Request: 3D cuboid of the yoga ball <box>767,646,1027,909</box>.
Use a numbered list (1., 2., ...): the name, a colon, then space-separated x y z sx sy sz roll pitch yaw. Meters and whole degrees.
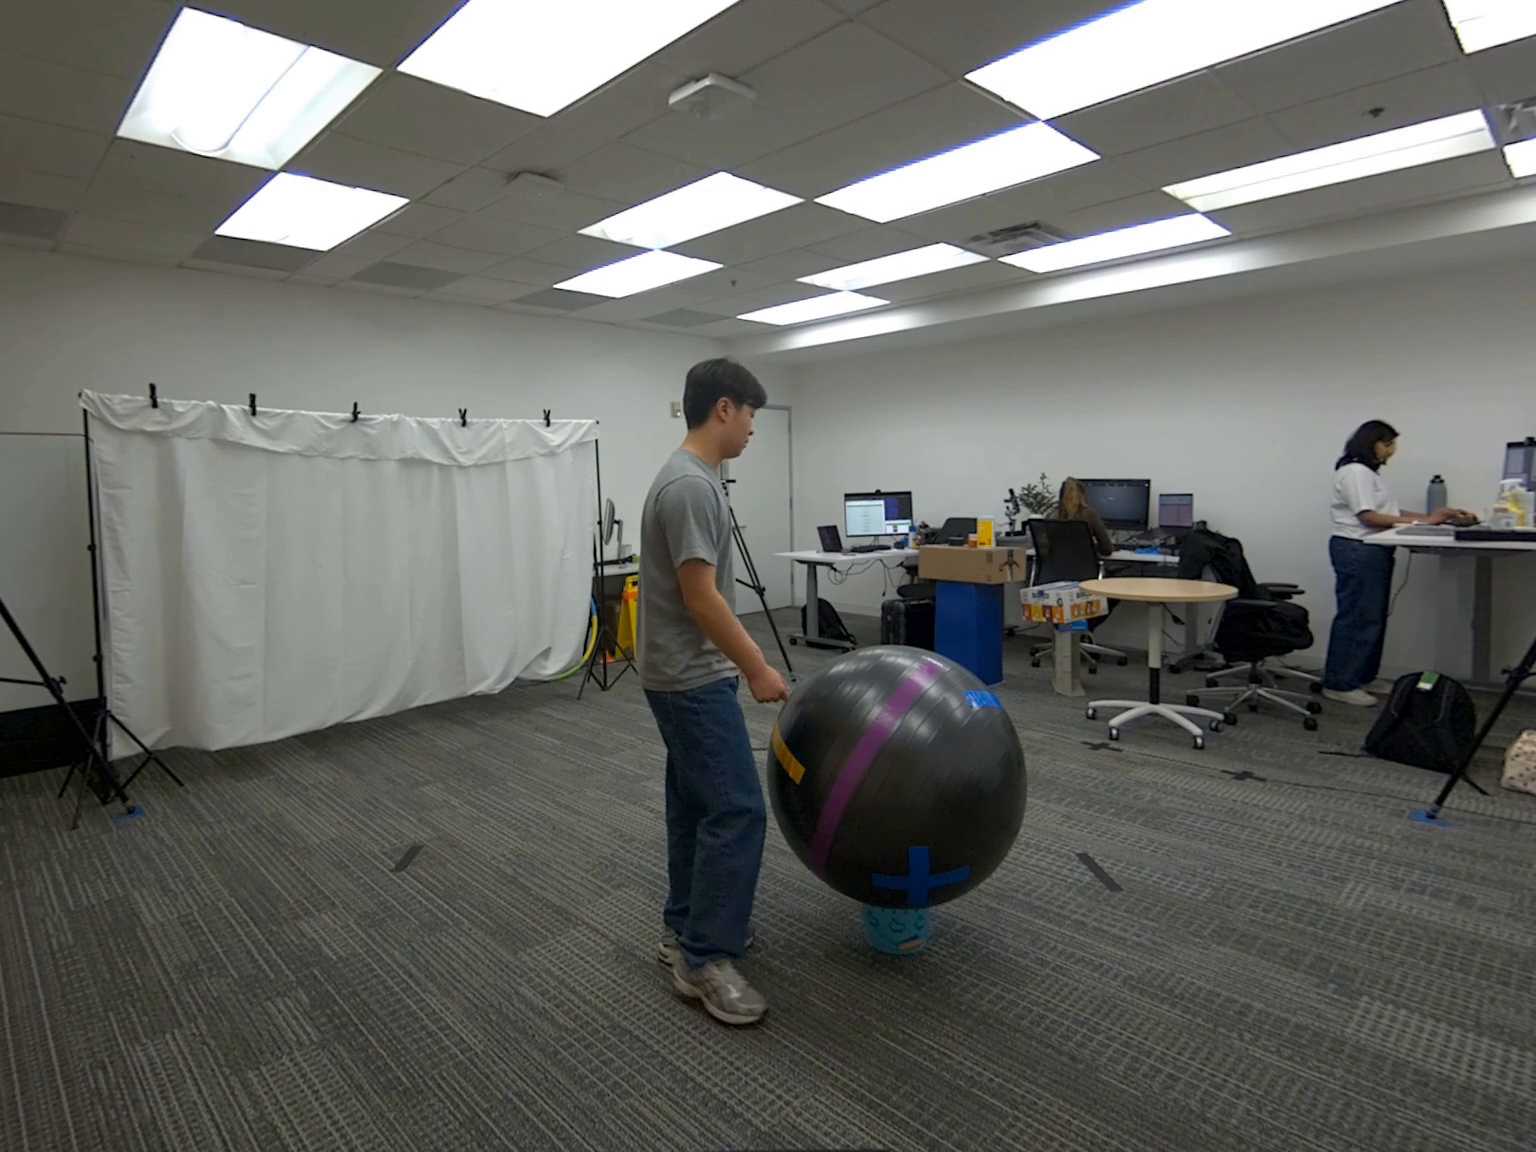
1. yoga ball: 0.388 0.595 2.560 0.757 0.755 0.762 -1 5 -2
